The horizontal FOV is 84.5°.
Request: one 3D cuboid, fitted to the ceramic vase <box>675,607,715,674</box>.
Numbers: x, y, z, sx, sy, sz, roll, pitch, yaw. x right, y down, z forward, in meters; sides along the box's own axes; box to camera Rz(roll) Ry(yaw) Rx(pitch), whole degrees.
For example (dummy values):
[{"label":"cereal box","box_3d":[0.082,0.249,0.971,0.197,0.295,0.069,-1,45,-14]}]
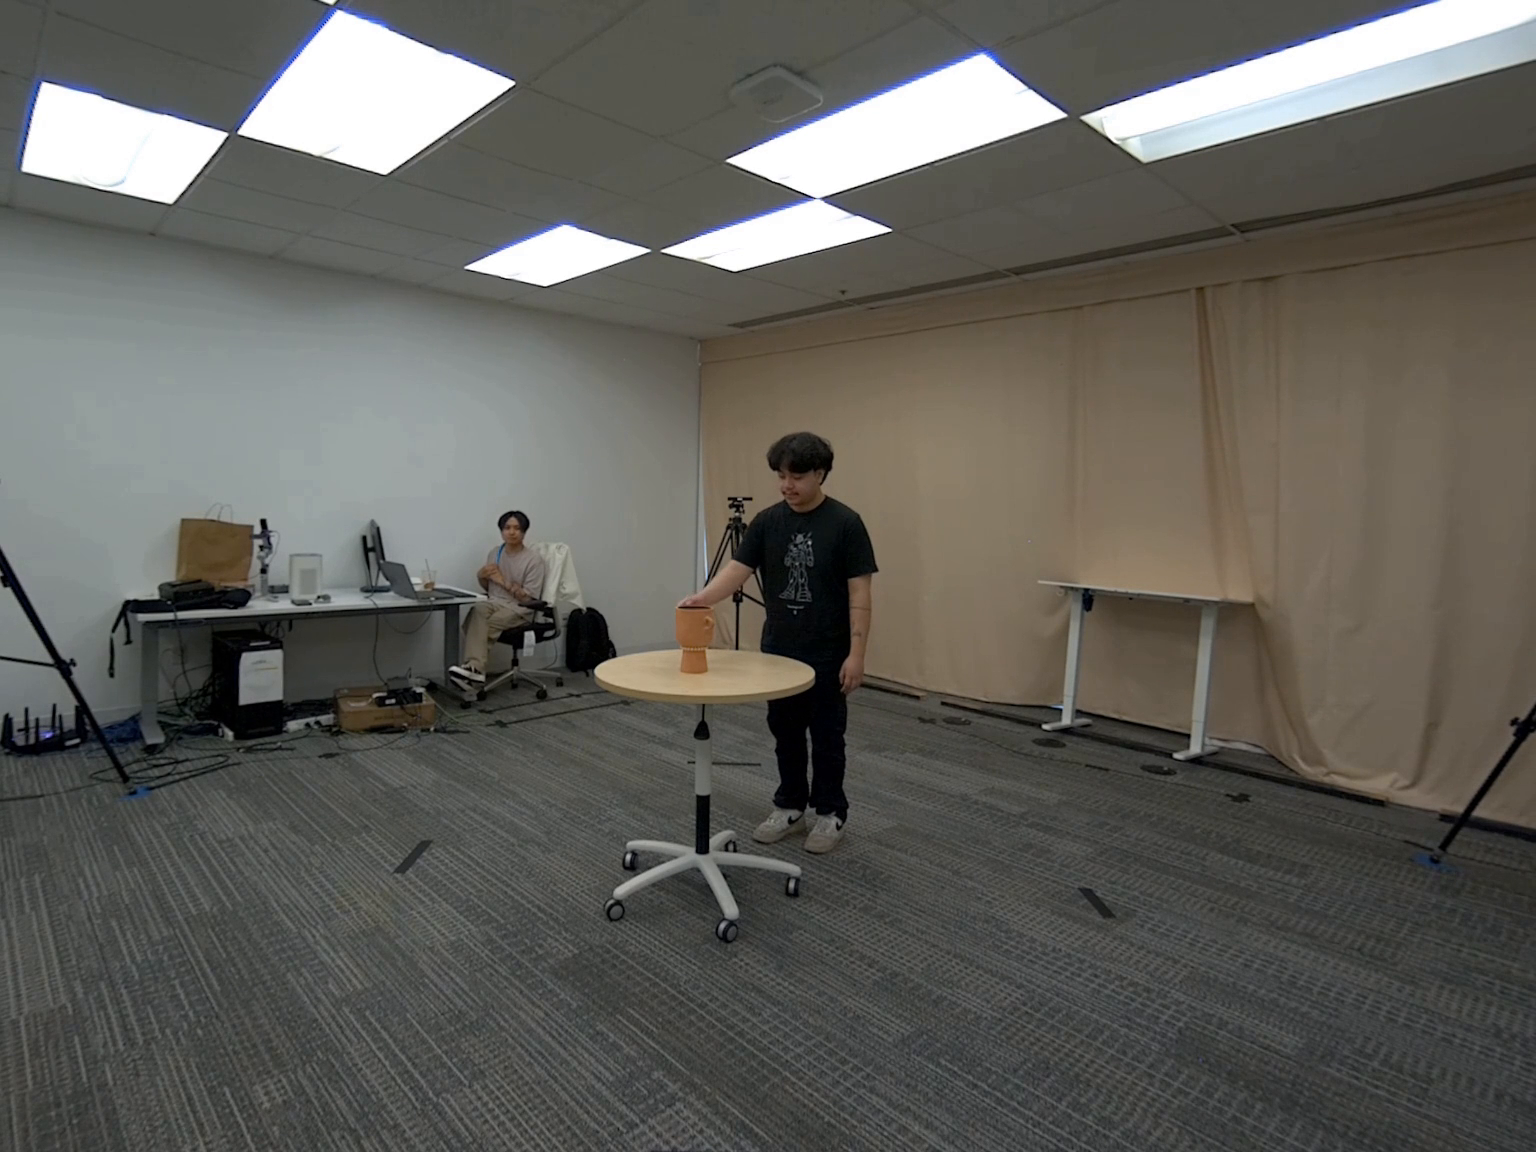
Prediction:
[{"label":"ceramic vase","box_3d":[-0.264,0.221,2.911,0.134,0.219,0.160,1,4,-7]}]
